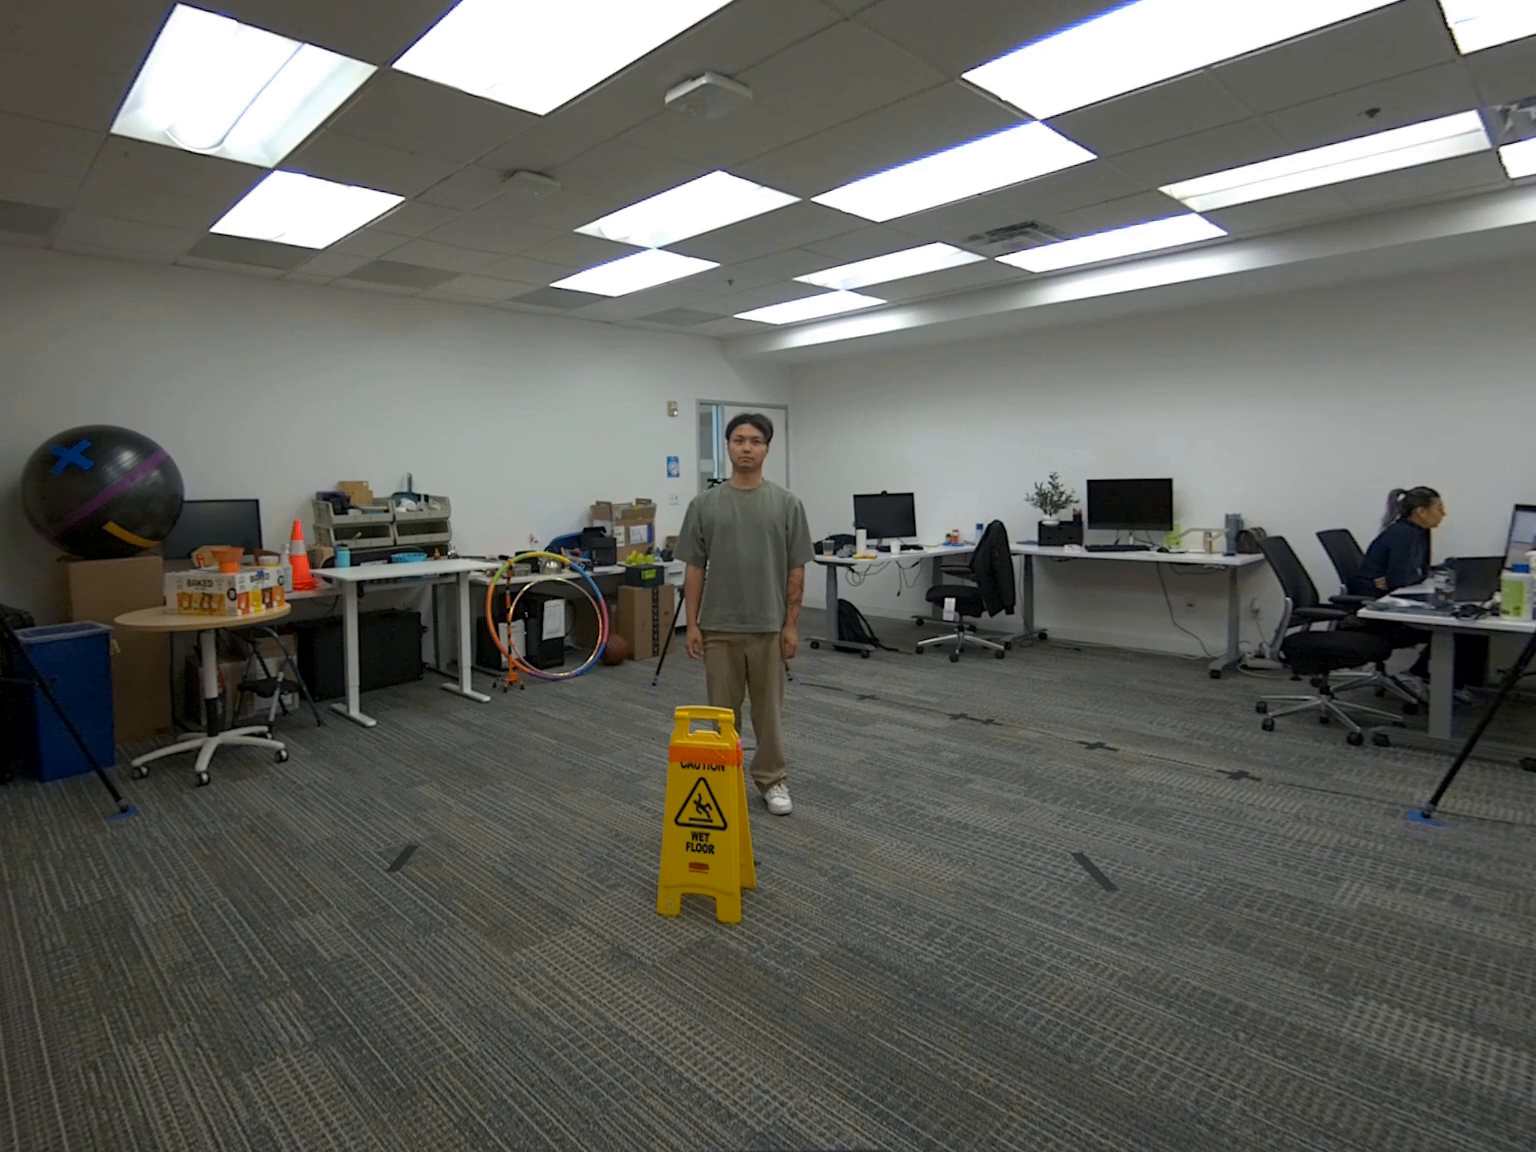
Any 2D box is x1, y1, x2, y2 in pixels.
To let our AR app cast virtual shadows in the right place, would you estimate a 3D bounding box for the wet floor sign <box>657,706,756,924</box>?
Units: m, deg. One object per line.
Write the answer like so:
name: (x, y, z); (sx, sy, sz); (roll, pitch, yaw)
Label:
wet floor sign: (-0.201, 0.763, 2.814); (0.286, 0.643, 0.287); (0, 5, 12)
